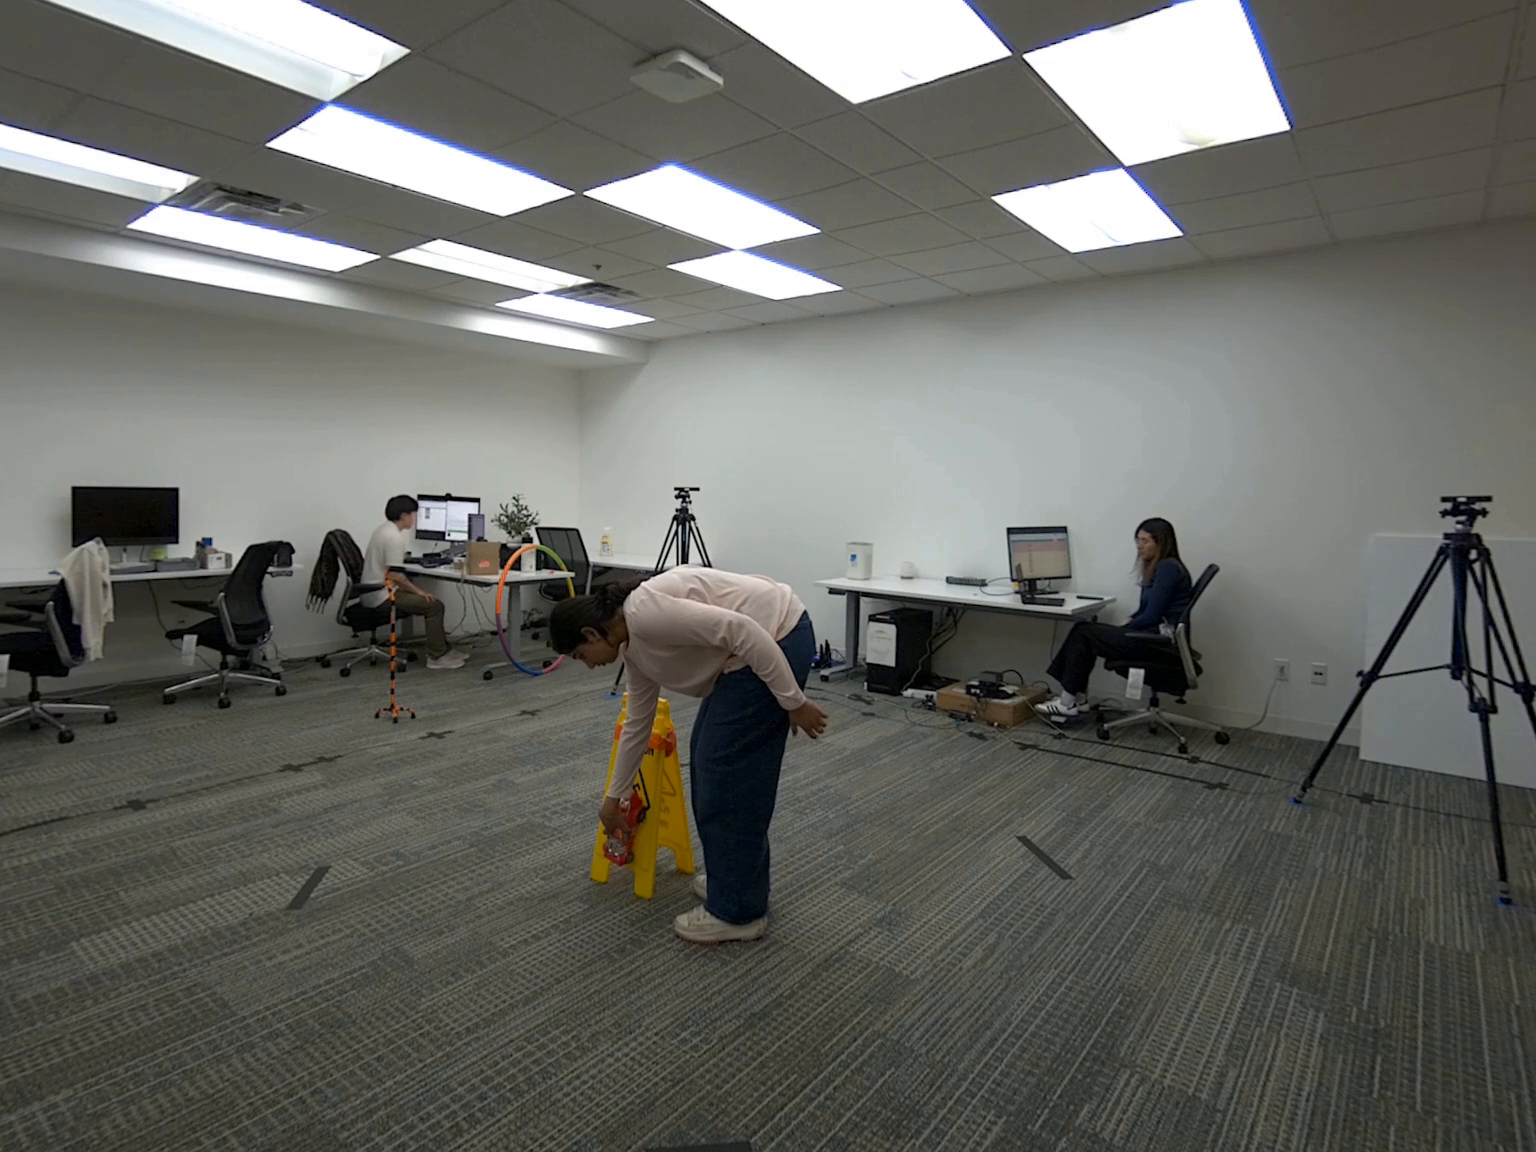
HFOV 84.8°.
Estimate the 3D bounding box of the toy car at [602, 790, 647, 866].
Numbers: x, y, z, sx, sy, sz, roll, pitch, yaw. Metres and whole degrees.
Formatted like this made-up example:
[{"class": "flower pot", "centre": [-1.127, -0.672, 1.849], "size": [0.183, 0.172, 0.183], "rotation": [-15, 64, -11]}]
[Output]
[{"class": "toy car", "centre": [-0.505, 0.855, 2.932], "size": [0.135, 0.254, 0.080], "rotation": [12, 4, 33]}]
